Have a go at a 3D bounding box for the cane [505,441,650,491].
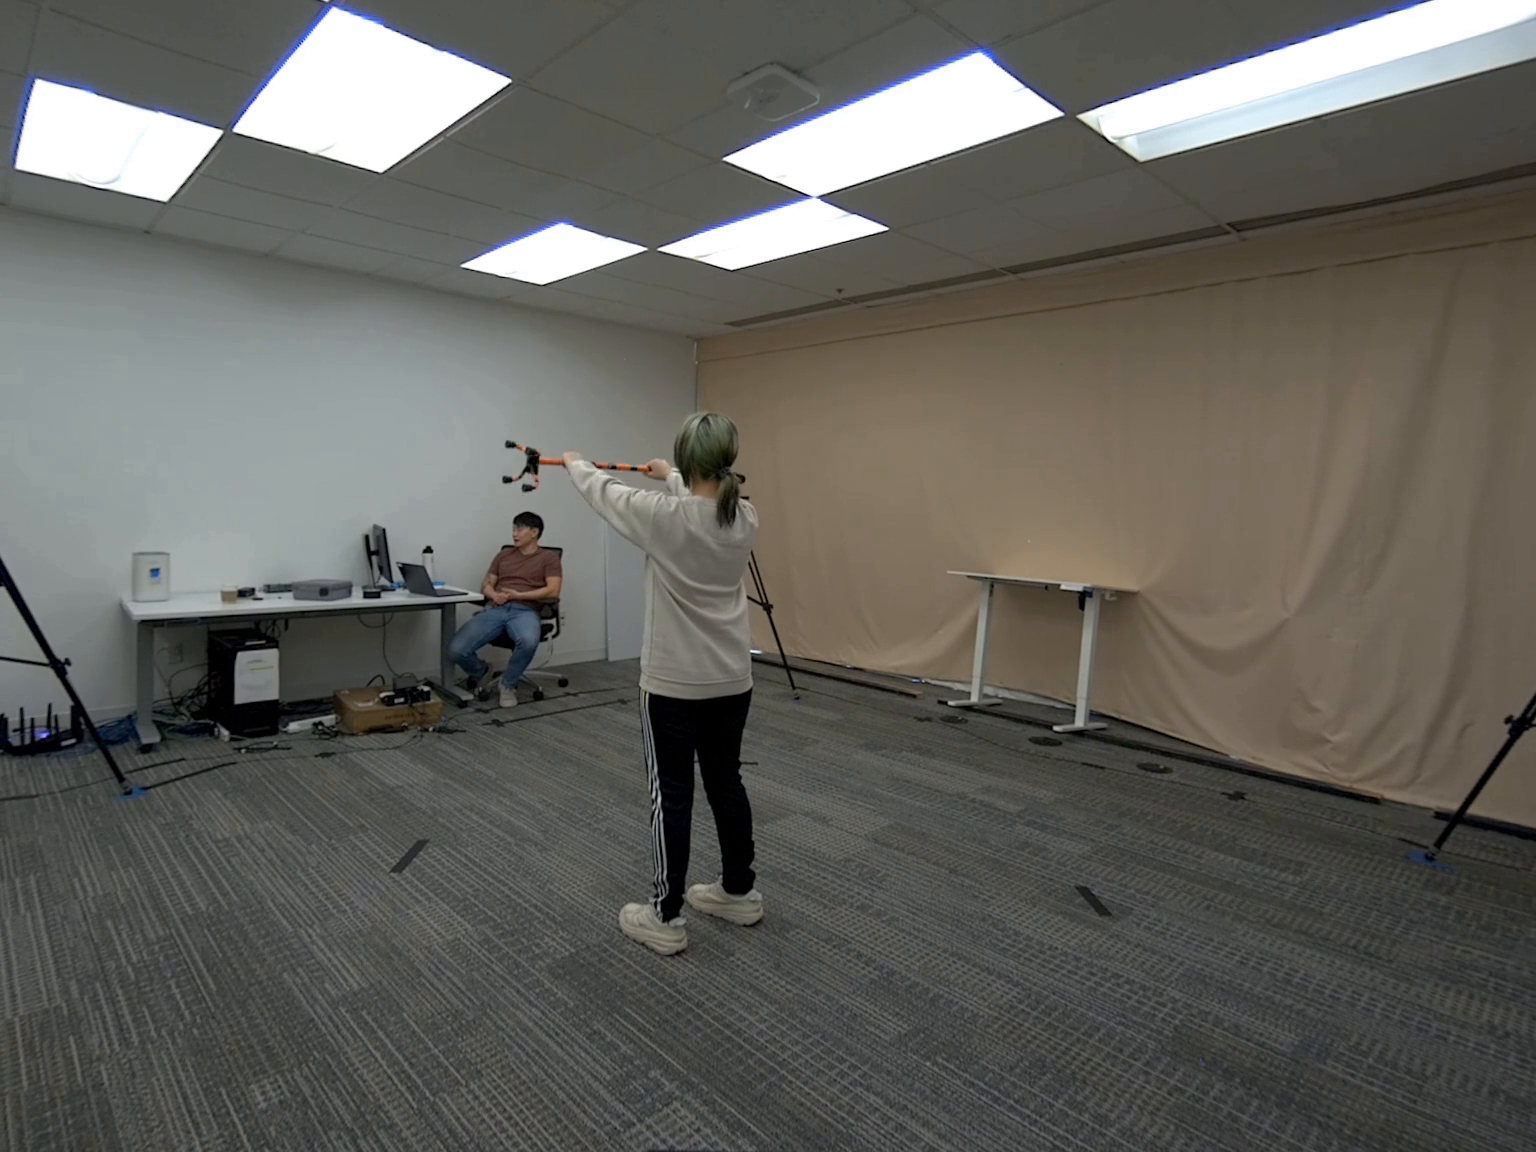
[{"bbox_3d":[-0.501,-0.380,3.101,0.887,0.150,0.213,-1,15,-37],"label":"cane"}]
